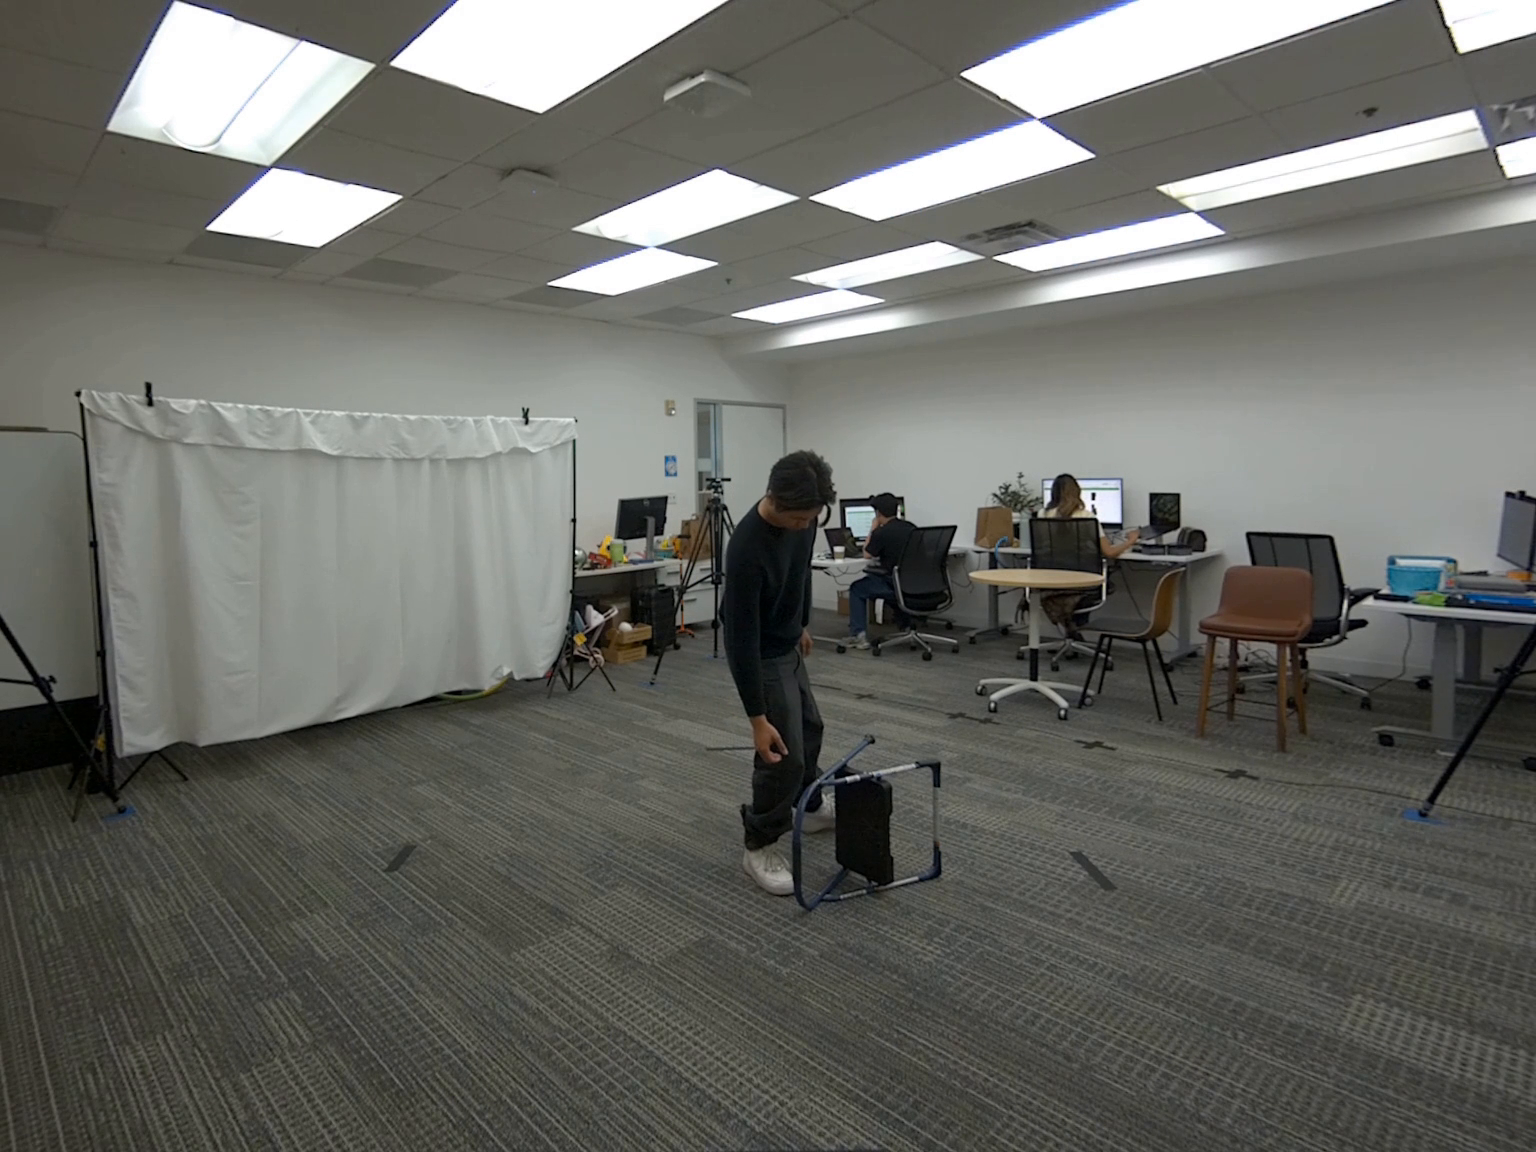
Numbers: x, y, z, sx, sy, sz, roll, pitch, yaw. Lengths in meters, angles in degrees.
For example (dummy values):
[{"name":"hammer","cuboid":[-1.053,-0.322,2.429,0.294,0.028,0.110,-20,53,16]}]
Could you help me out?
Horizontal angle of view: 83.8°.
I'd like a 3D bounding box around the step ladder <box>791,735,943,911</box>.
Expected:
[{"name":"step ladder","cuboid":[0.266,0.850,2.904,0.591,0.428,0.360,-8,8,-39]}]
